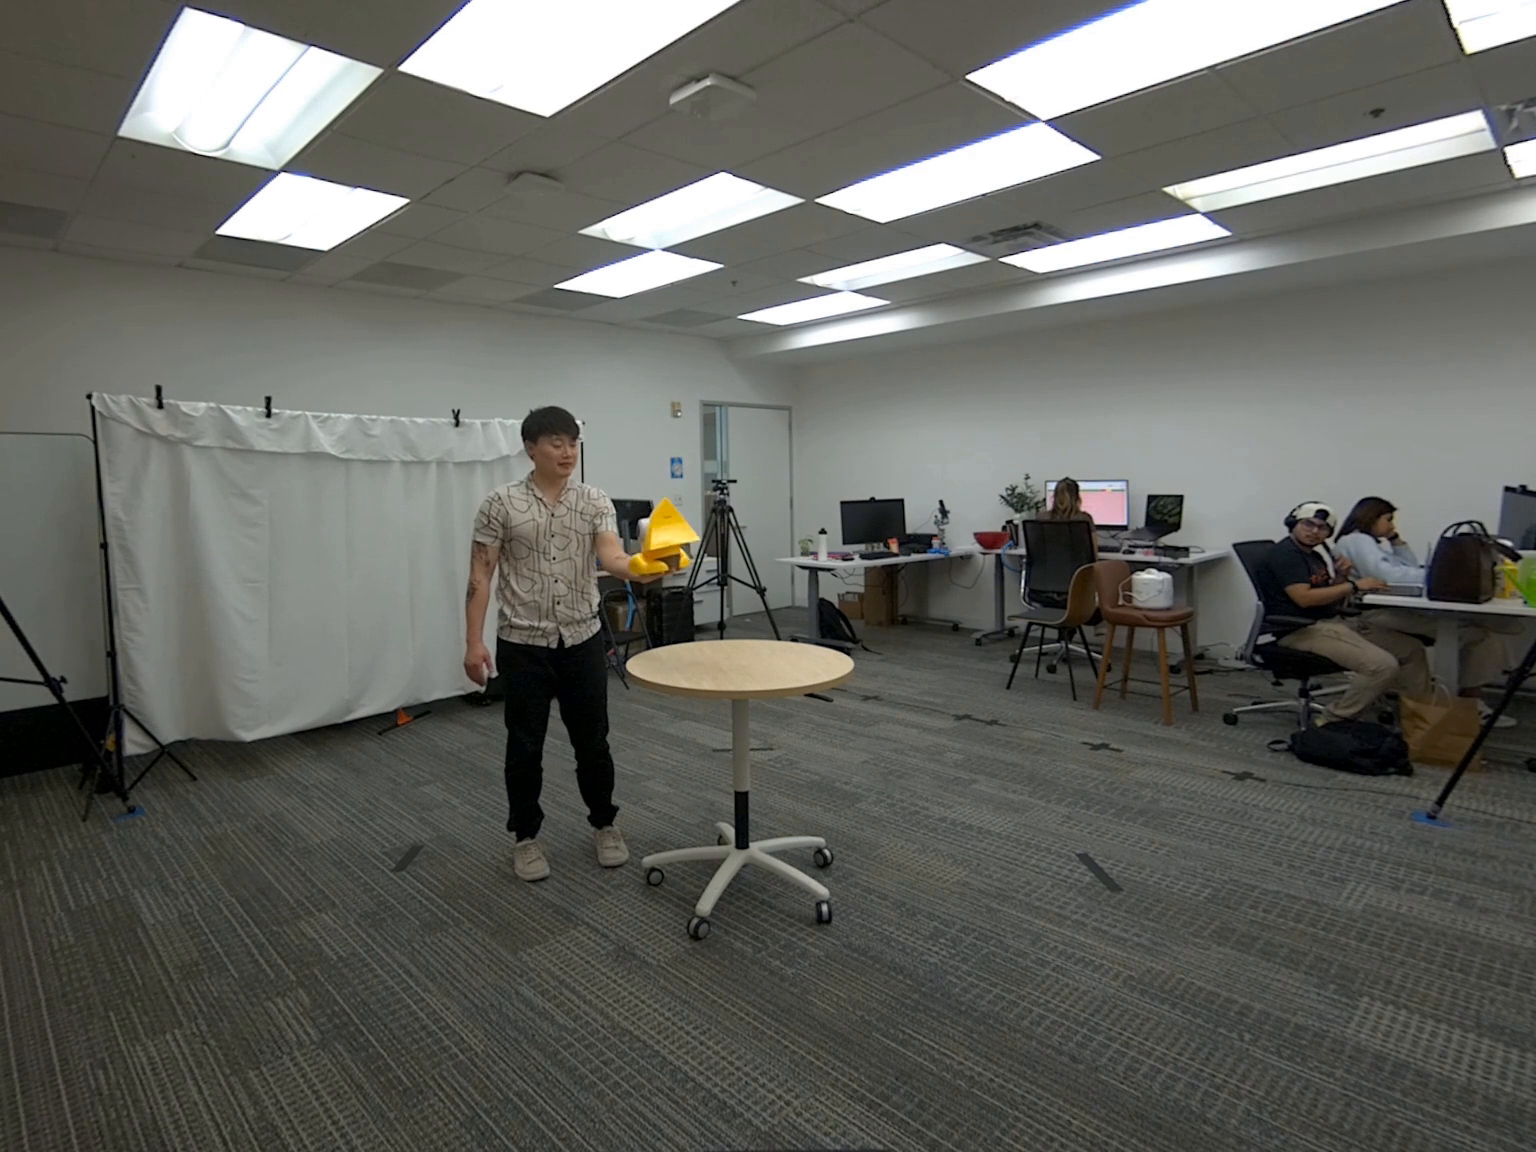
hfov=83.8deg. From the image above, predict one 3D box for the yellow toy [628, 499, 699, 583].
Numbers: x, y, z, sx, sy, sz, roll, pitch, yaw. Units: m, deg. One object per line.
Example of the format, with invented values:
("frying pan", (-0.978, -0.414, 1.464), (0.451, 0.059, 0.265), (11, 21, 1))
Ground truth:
("yellow toy", (-0.359, -0.139, 2.763), (0.200, 0.229, 0.199), (-14, 11, -42))
